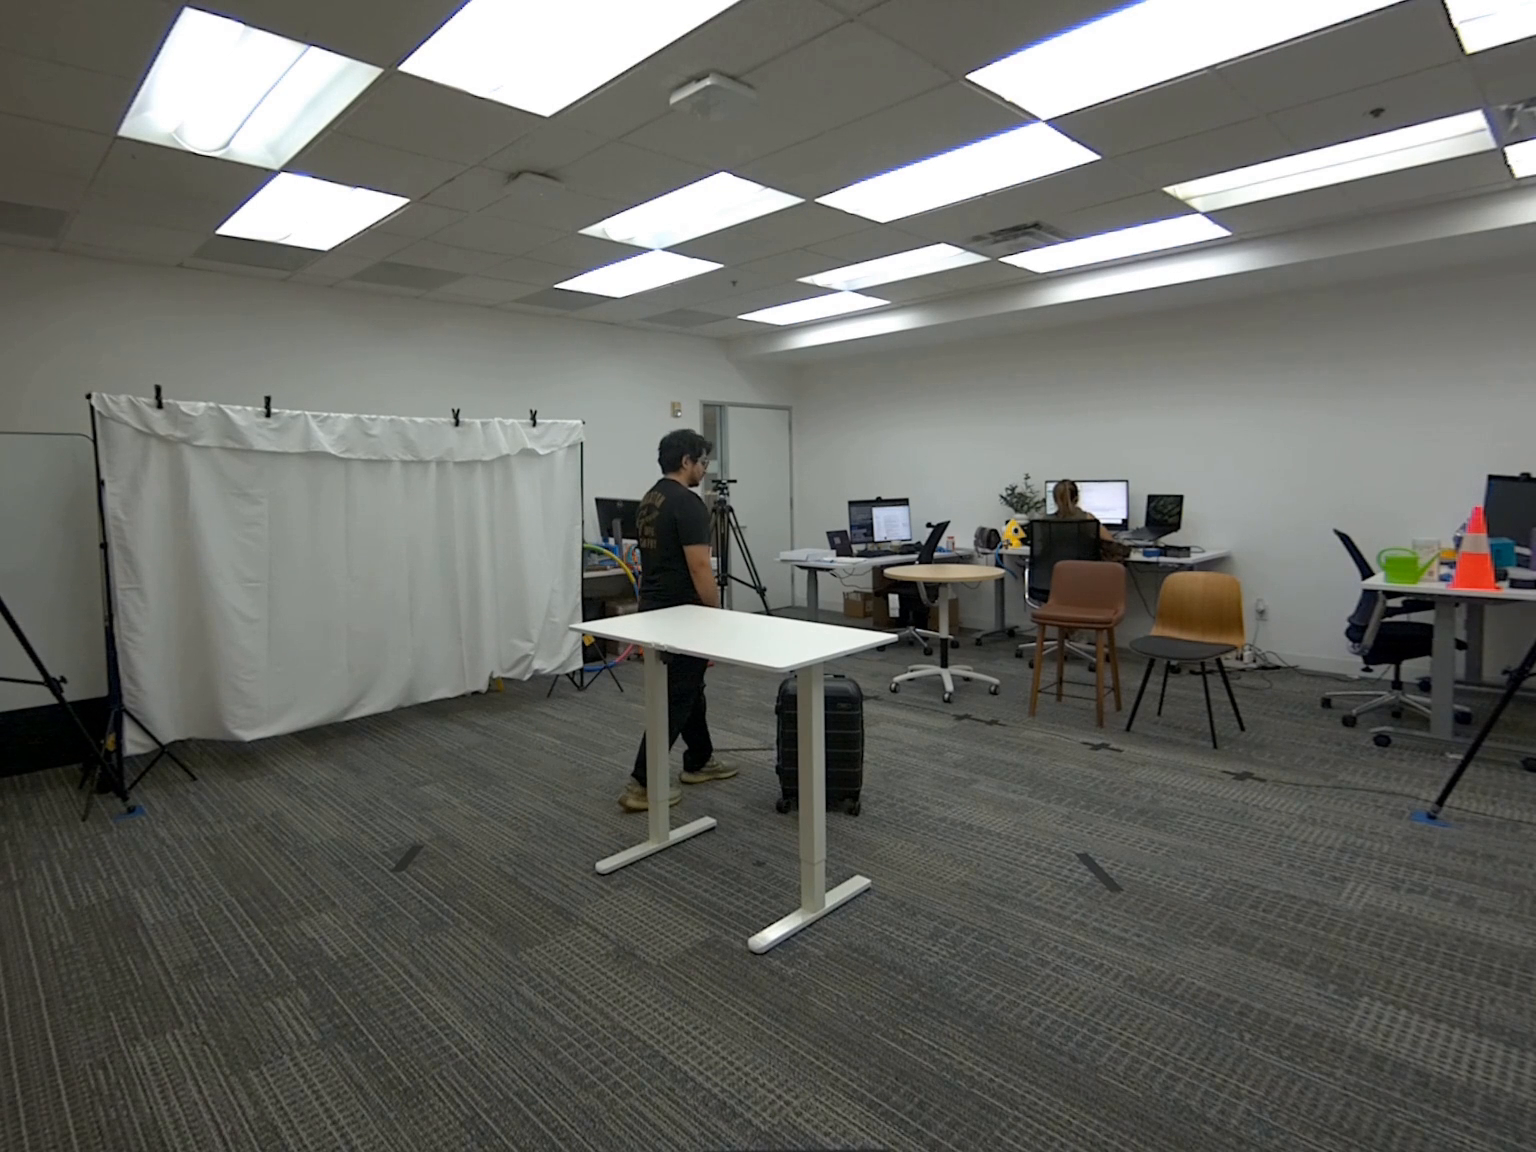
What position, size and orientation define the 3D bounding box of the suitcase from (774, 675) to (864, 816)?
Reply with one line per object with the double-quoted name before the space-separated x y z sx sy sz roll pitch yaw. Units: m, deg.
"suitcase" 0.233 0.706 3.678 0.377 0.548 0.247 0 2 5
